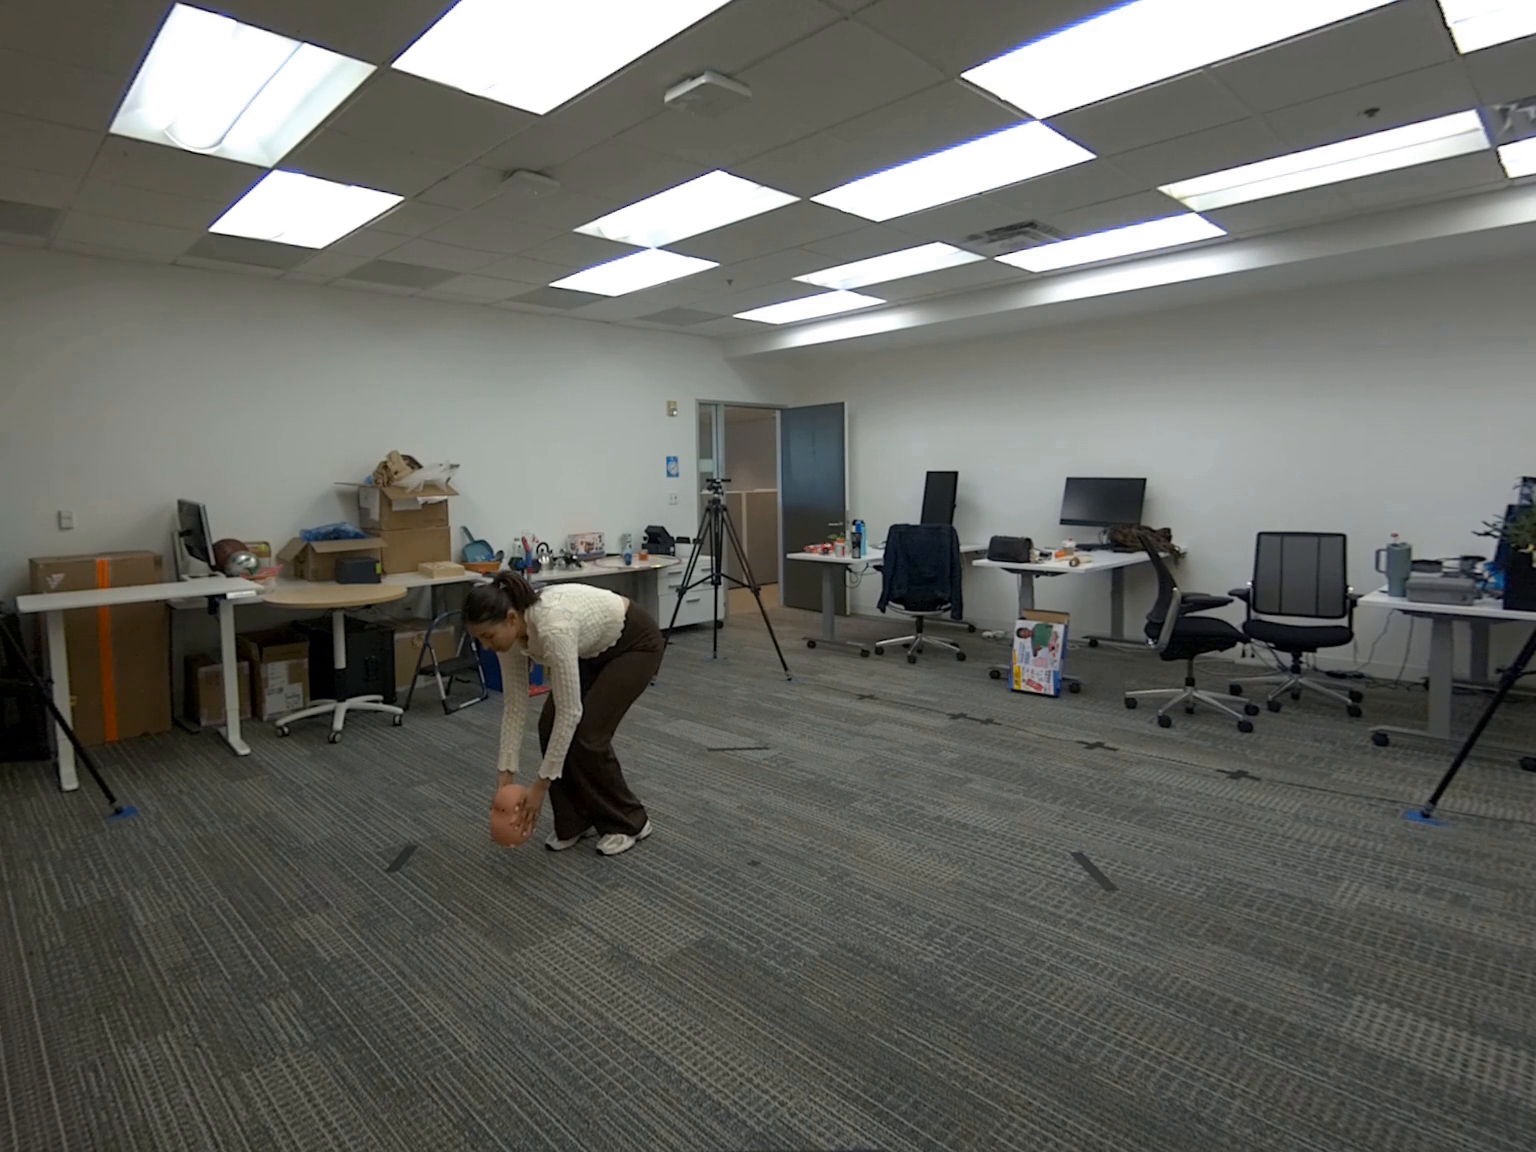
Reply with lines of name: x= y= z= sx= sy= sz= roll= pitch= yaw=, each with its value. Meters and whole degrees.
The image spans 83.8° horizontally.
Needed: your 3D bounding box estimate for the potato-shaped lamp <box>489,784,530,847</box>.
potato-shaped lamp: x=-0.914 y=0.845 z=3.061 sx=0.170 sy=0.195 sz=0.169 roll=5 pitch=18 yaw=38
